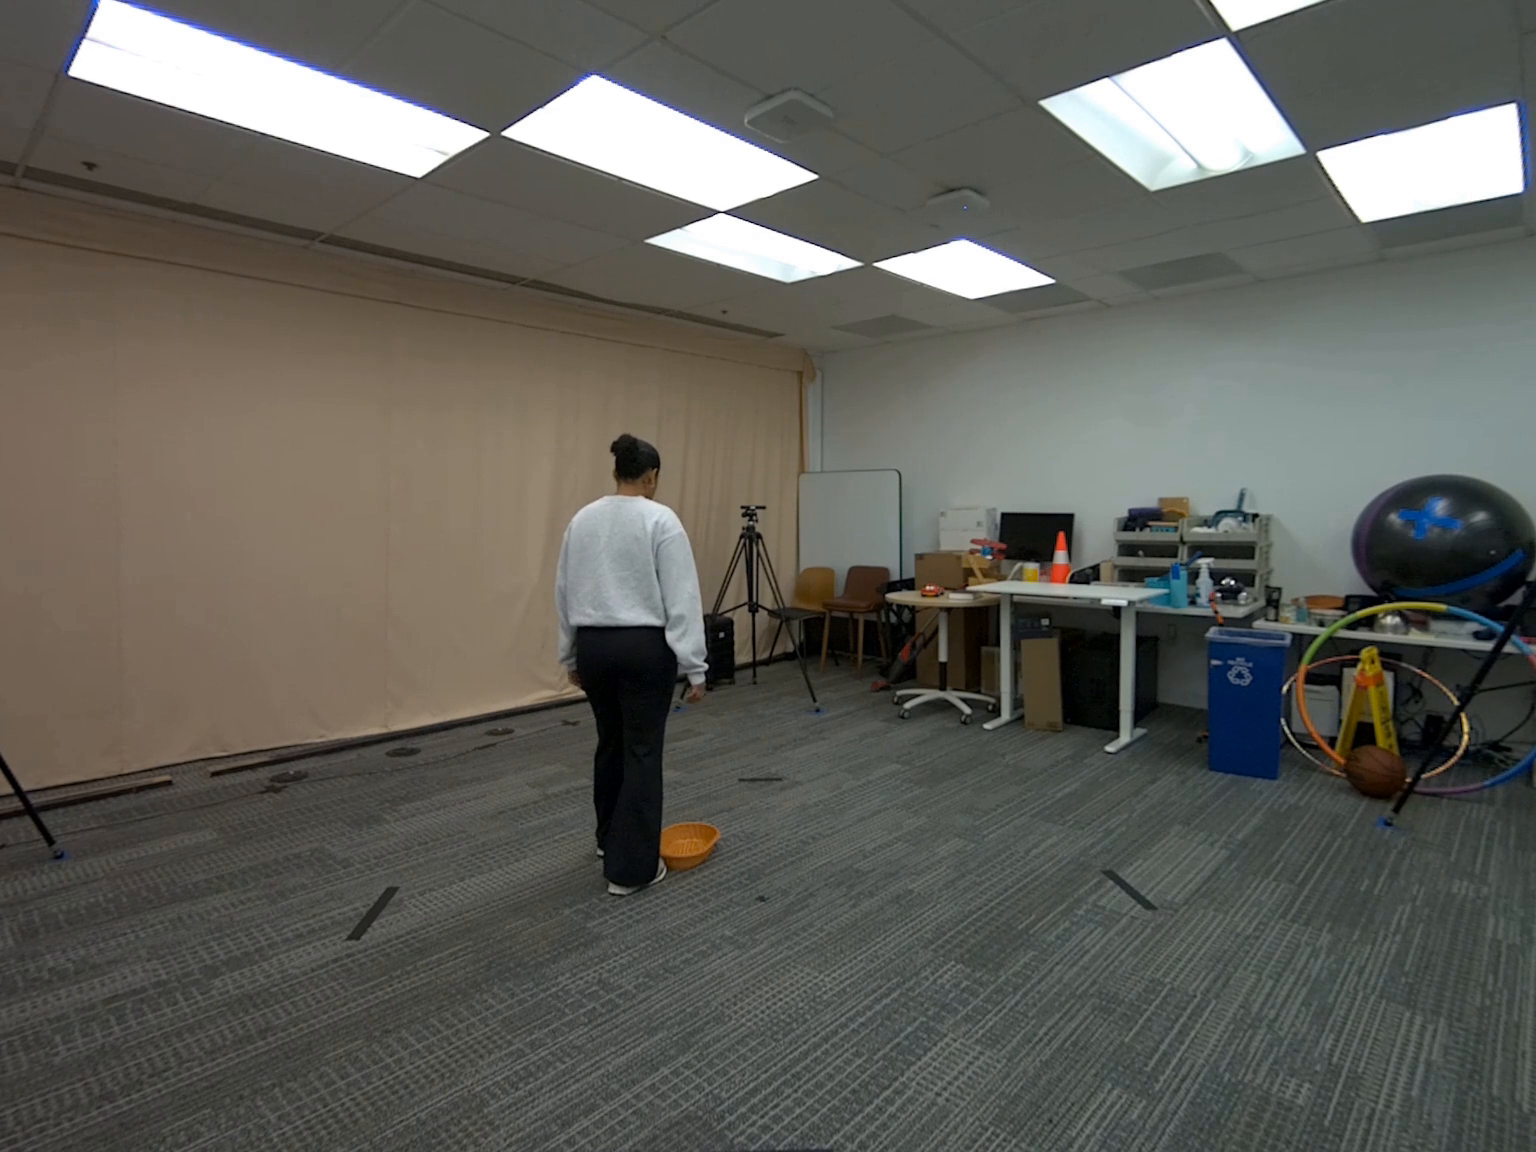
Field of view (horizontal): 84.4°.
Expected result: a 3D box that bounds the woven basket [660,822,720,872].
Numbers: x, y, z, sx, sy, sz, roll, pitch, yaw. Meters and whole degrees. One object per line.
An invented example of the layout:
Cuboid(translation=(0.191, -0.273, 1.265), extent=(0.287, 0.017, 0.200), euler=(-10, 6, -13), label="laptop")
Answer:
Cuboid(translation=(-0.329, 1.077, 3.355), extent=(0.258, 0.073, 0.343), euler=(1, 5, 22), label="woven basket")
